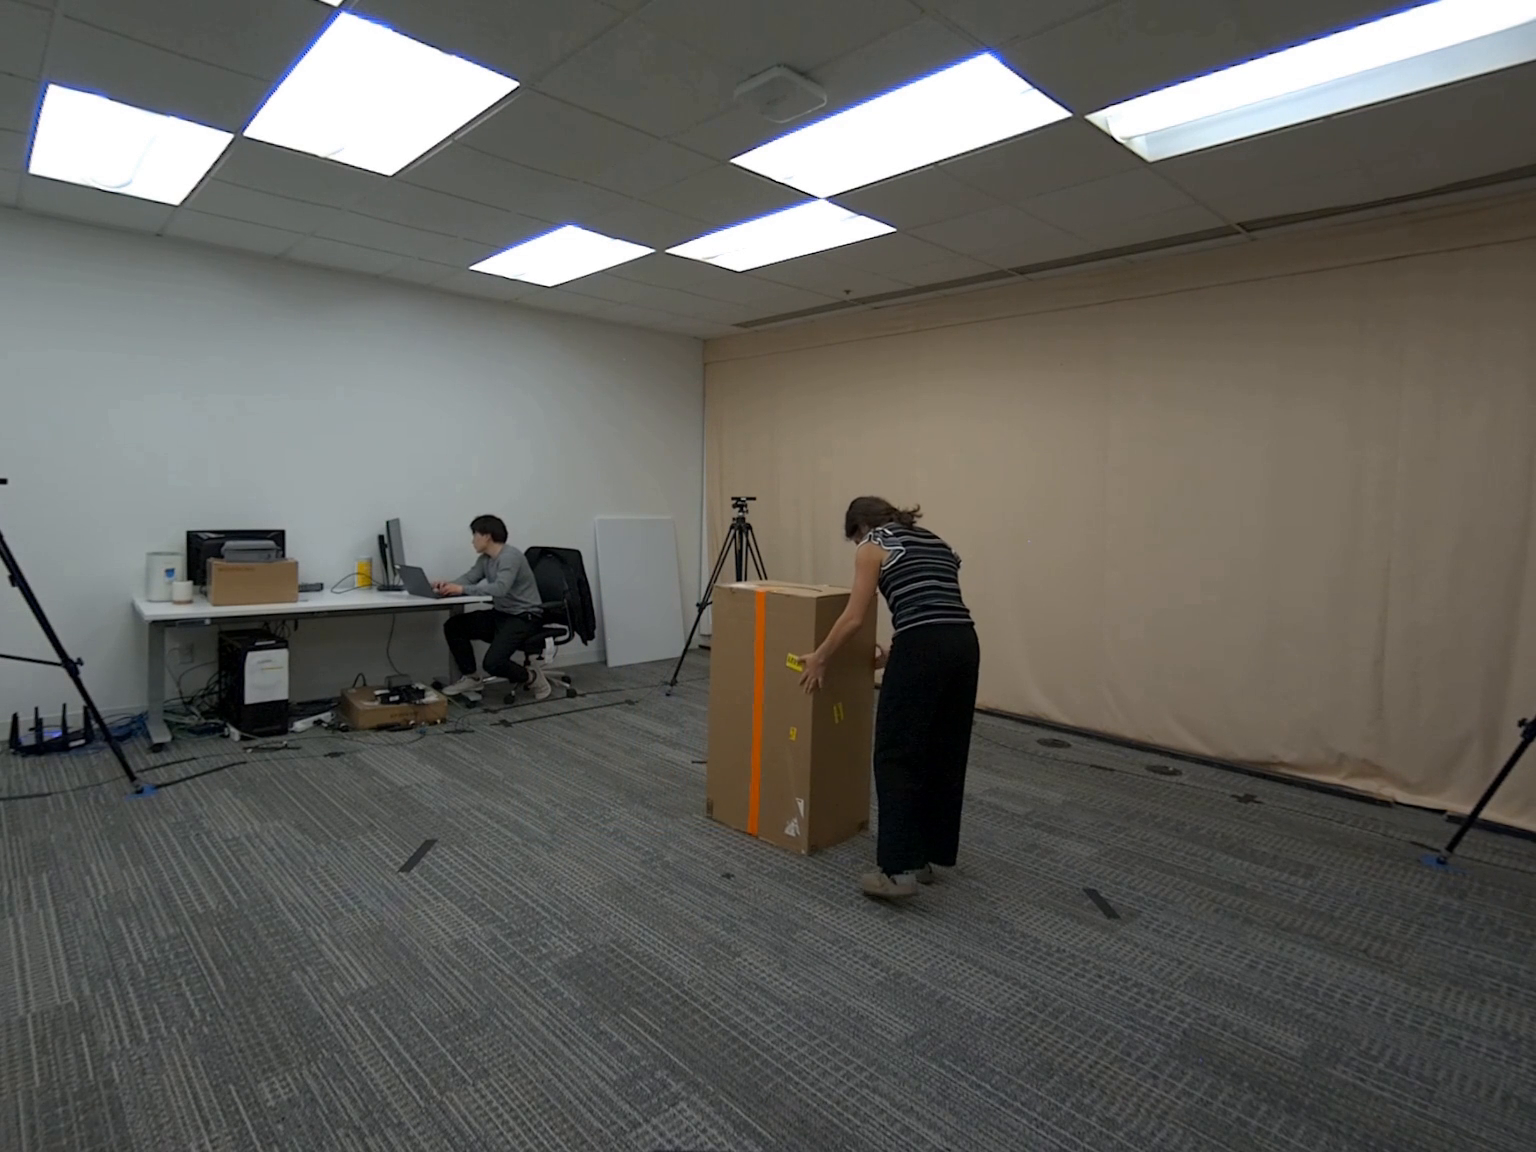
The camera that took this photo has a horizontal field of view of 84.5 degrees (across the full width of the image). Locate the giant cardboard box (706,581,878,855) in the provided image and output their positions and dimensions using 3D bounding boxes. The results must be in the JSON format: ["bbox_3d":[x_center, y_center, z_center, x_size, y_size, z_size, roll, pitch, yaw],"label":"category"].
[{"bbox_3d":[0.085,0.560,3.613,0.592,1.023,0.416,5,4,43],"label":"giant cardboard box"}]
